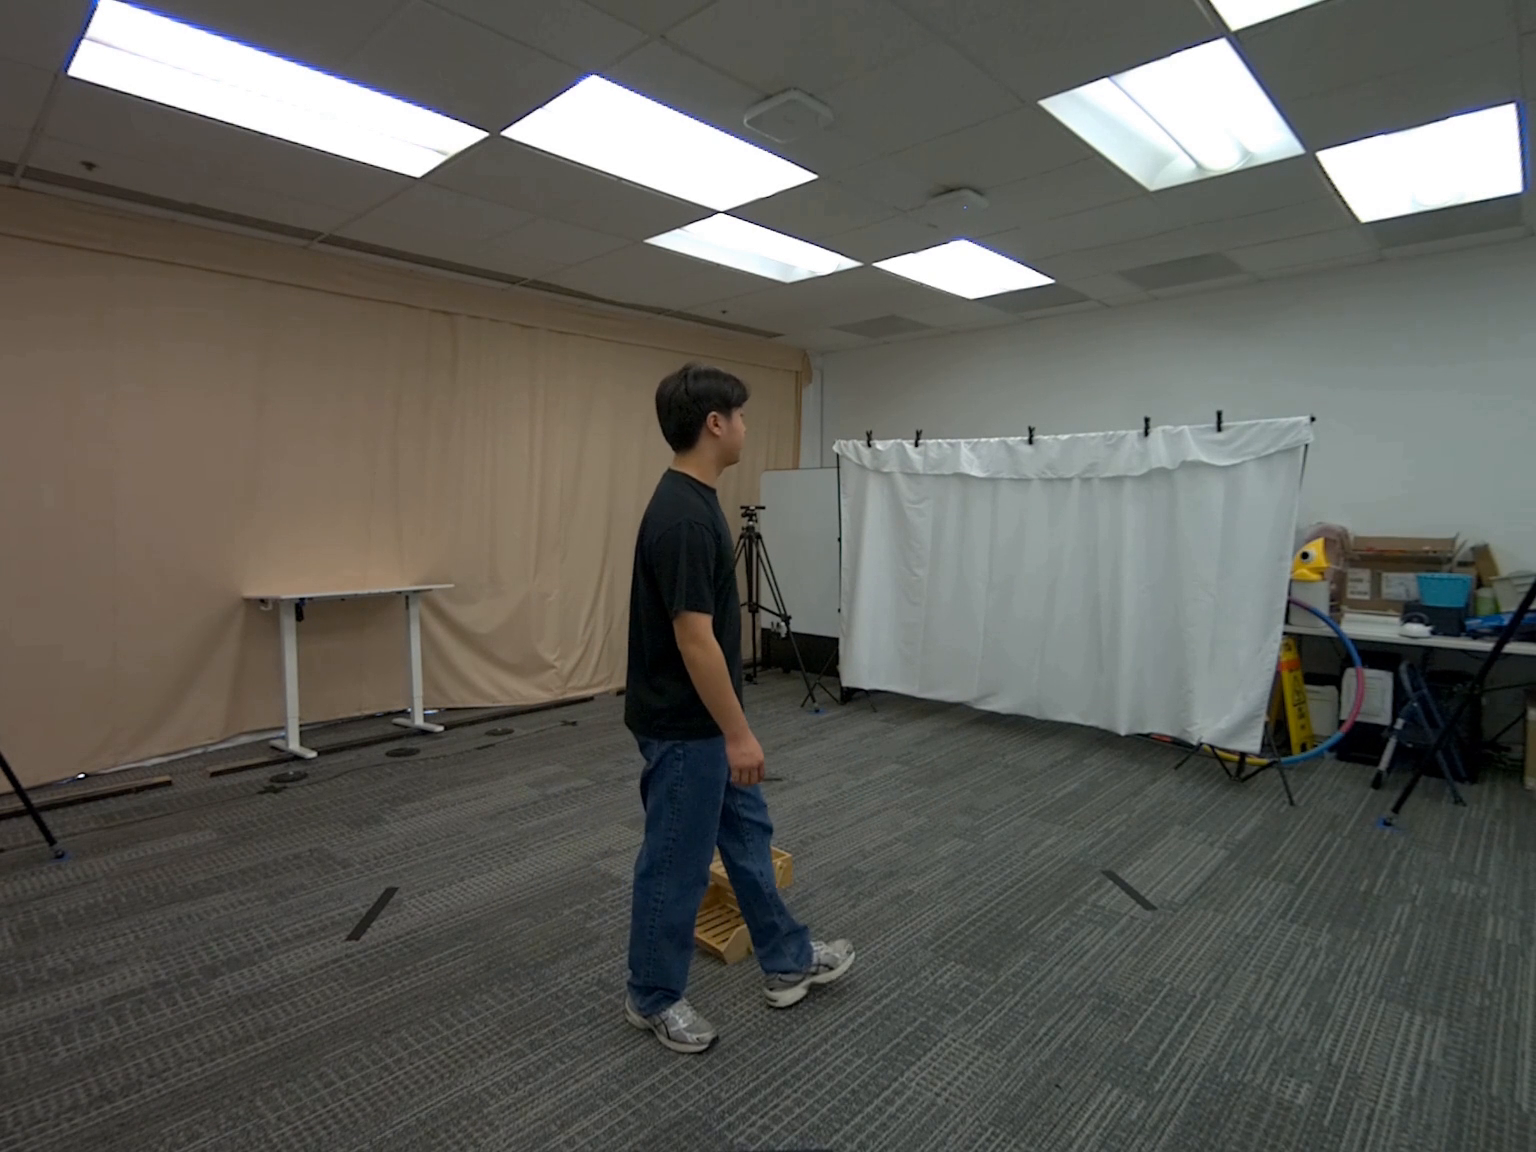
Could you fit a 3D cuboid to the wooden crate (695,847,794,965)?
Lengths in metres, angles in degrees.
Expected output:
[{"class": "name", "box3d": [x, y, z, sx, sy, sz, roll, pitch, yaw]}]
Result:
[{"class": "wooden crate", "box3d": [-0.124, 1.038, 2.750, 0.293, 0.273, 0.335, -2, 2, -40]}]
